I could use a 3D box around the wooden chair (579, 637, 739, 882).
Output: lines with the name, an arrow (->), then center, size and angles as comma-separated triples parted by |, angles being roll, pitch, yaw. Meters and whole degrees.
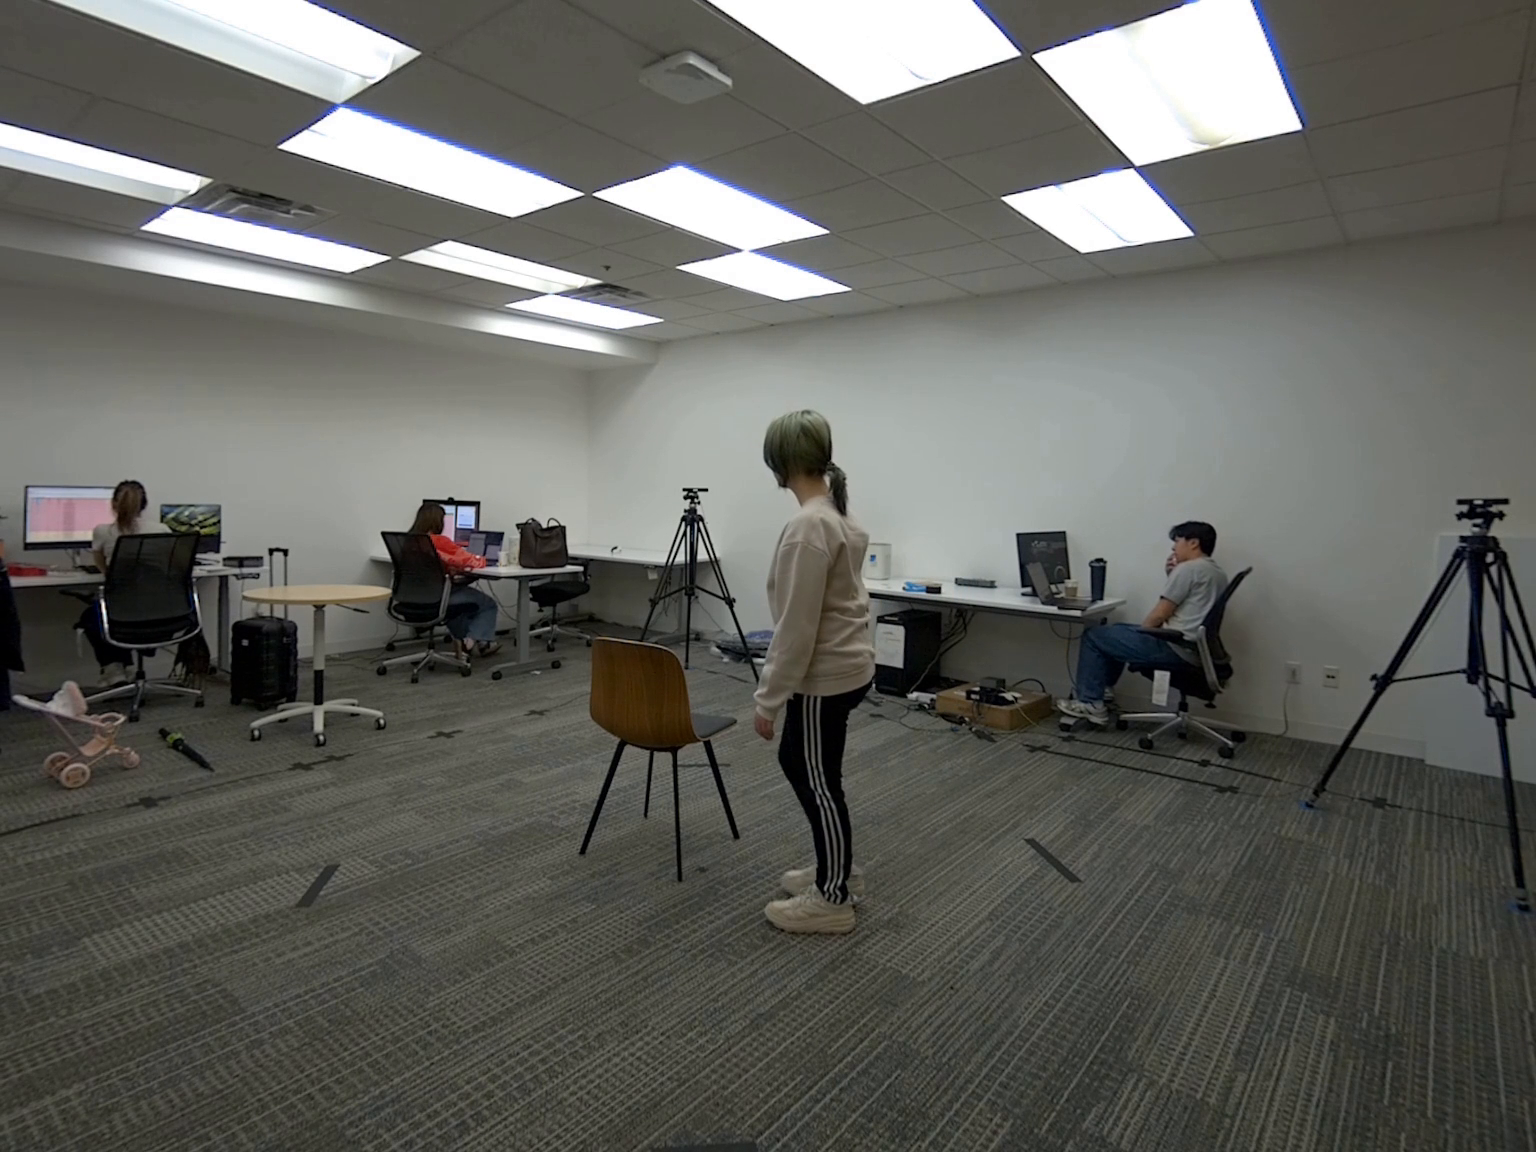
wooden chair -> -0.413, 0.620, 3.287 | 0.491, 0.872, 0.512 | 3, 8, 27
